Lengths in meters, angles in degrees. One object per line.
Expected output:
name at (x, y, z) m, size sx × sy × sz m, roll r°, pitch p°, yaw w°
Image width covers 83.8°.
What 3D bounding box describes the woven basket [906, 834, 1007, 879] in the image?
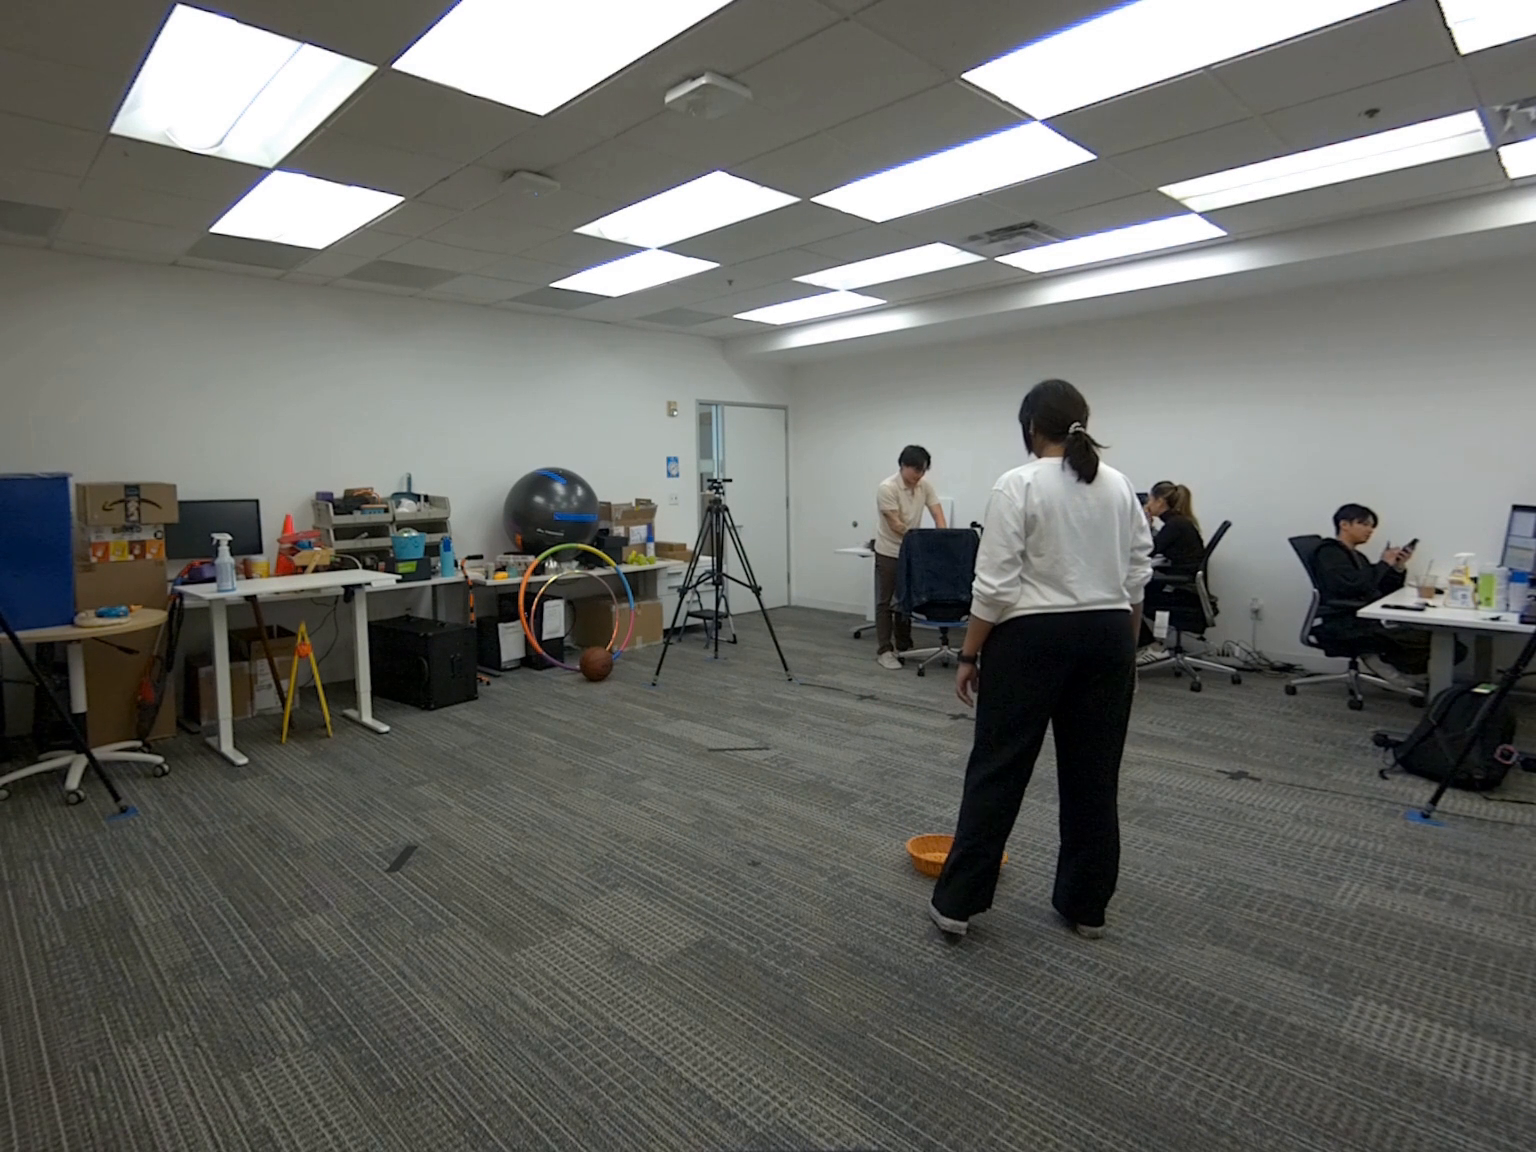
woven basket at (0.669, 1.002, 3.041) m, size 0.355 × 0.073 × 0.249 m, roll 0°, pitch 5°, yaw 15°
